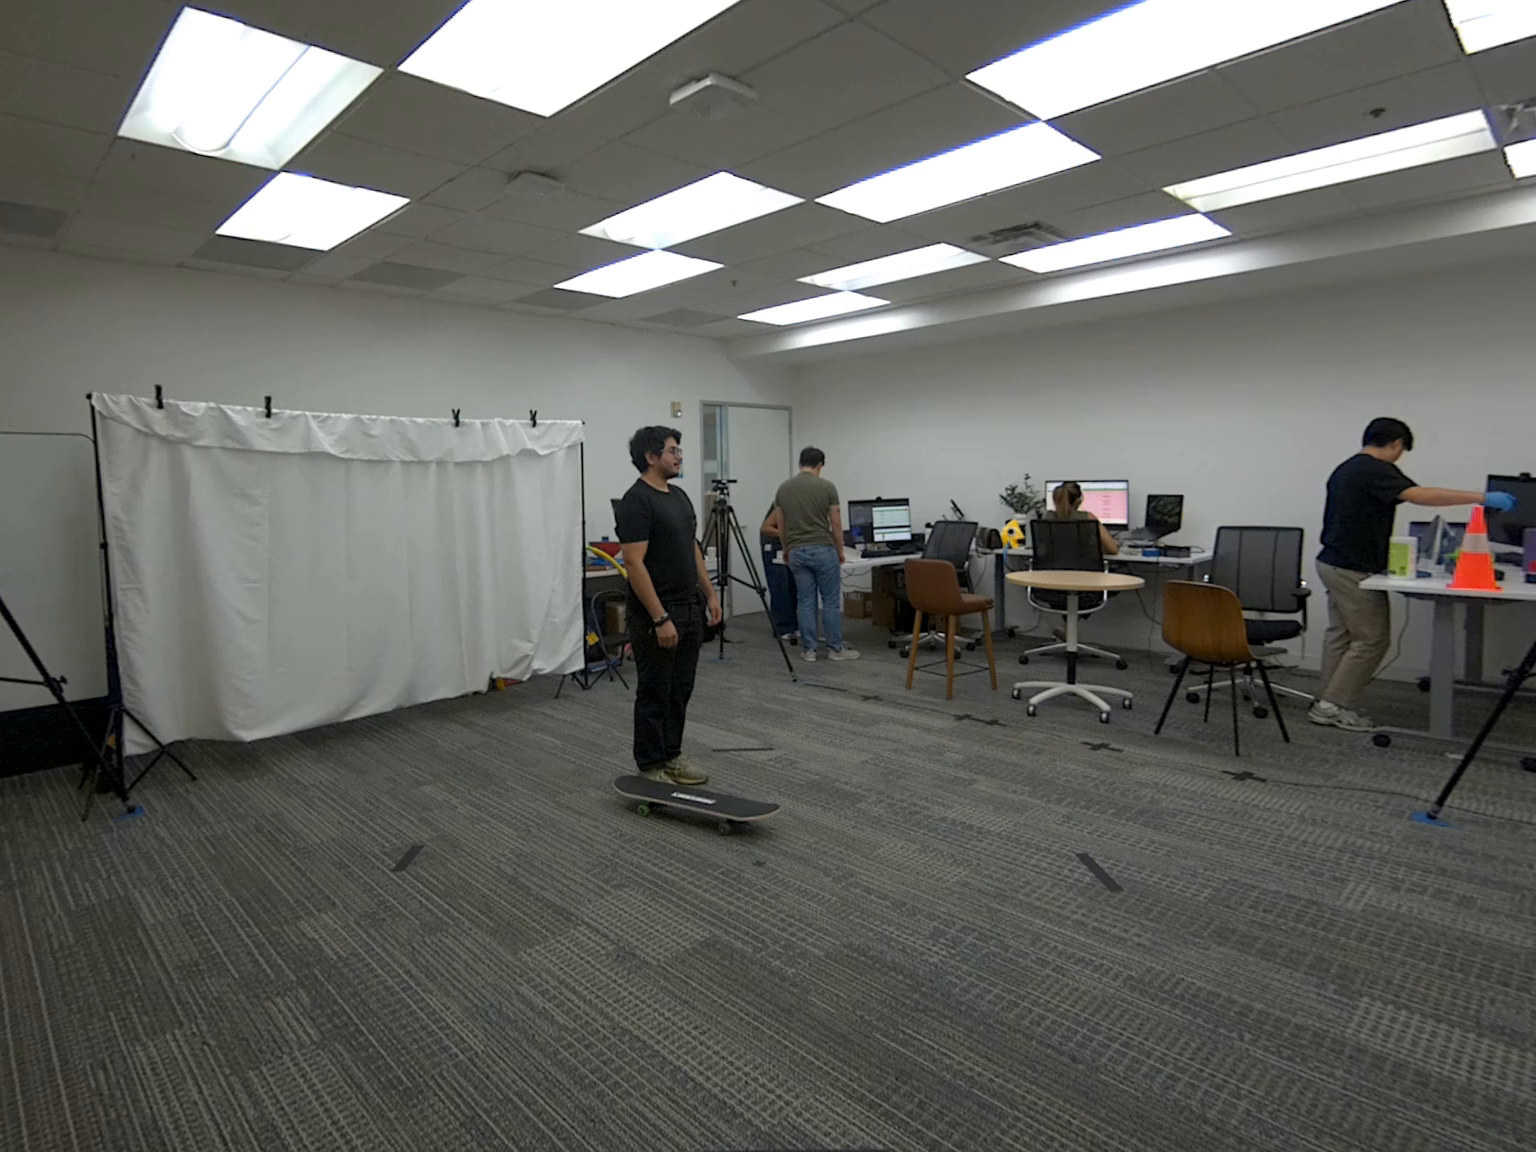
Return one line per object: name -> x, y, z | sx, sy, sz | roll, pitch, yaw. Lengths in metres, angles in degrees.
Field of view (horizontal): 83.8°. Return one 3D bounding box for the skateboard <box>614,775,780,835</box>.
skateboard -> -0.302, 0.948, 3.533 | 0.806, 0.110, 0.189 | 2, 5, 31
